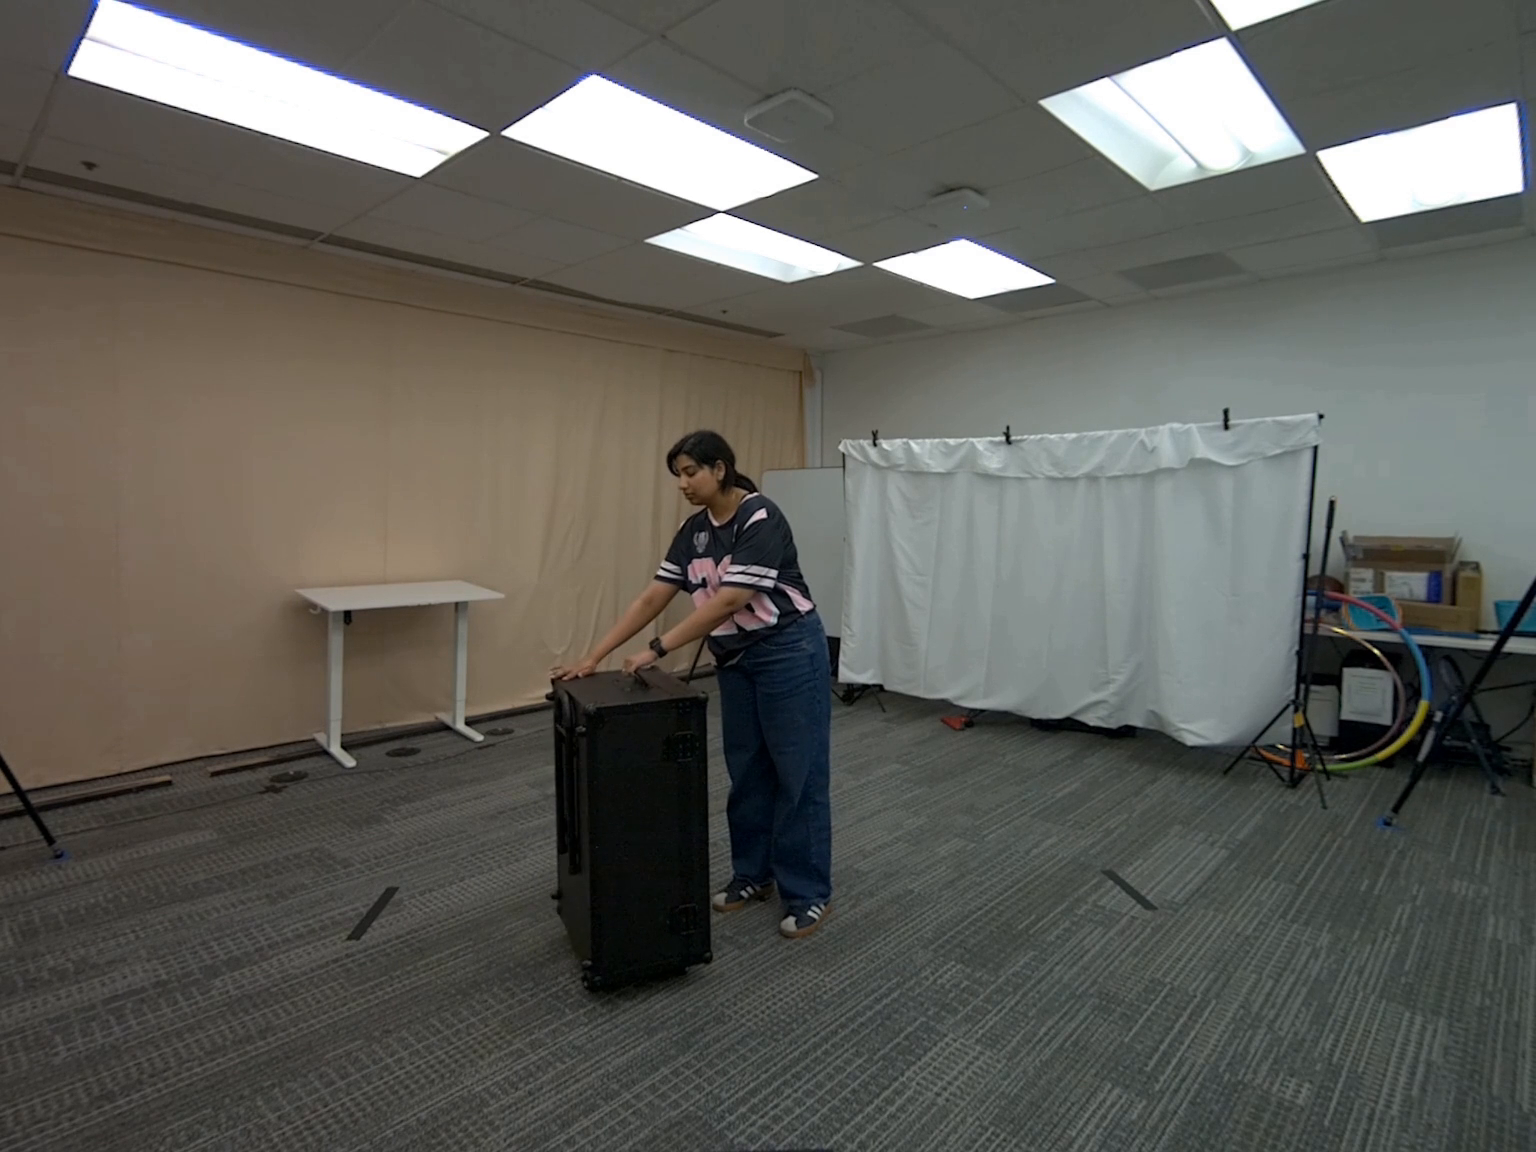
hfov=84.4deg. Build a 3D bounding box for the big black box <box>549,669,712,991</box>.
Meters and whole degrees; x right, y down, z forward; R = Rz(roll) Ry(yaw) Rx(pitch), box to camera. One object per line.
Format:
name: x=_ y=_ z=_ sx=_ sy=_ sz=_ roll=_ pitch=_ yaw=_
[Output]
big black box: x=-0.430 y=0.761 z=2.564 sx=0.376 sy=0.867 sz=0.536 roll=-2 pitch=3 yaw=-24
